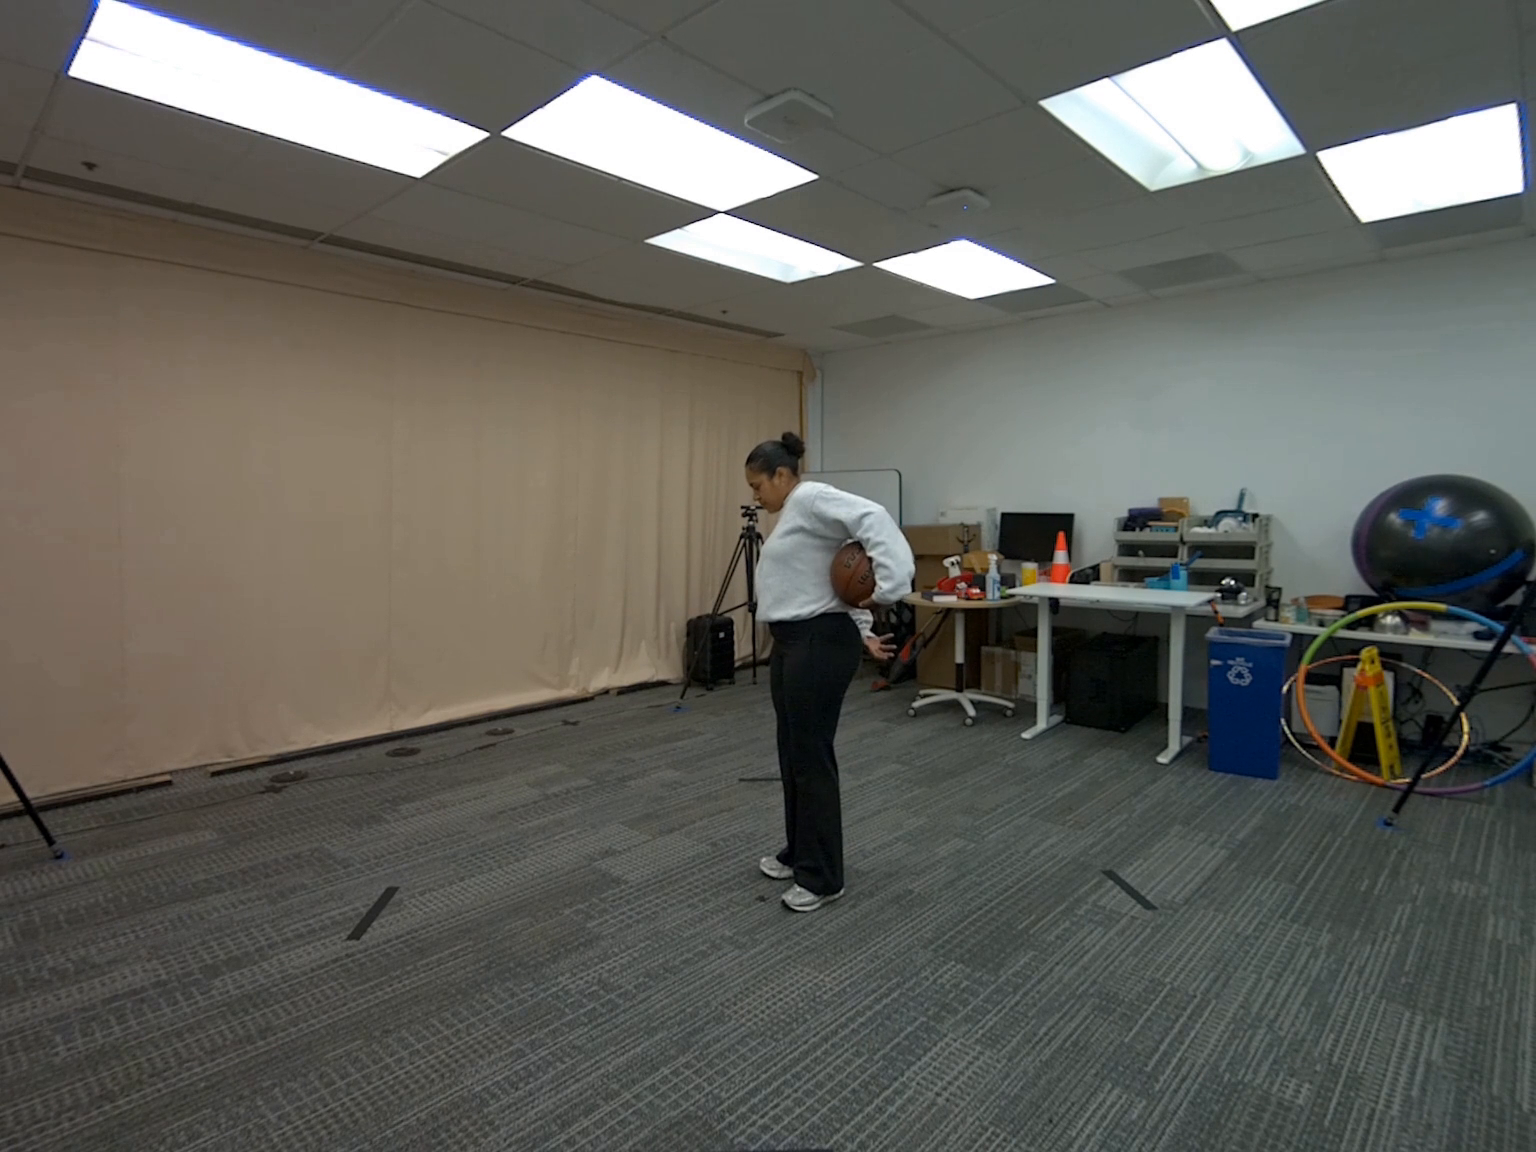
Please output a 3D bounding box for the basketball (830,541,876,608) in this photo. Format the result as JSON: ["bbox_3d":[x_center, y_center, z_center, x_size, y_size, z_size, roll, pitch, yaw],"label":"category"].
[{"bbox_3d":[0.332,-0.009,2.834,0.236,0.235,0.237,0,4,-2],"label":"basketball"}]
